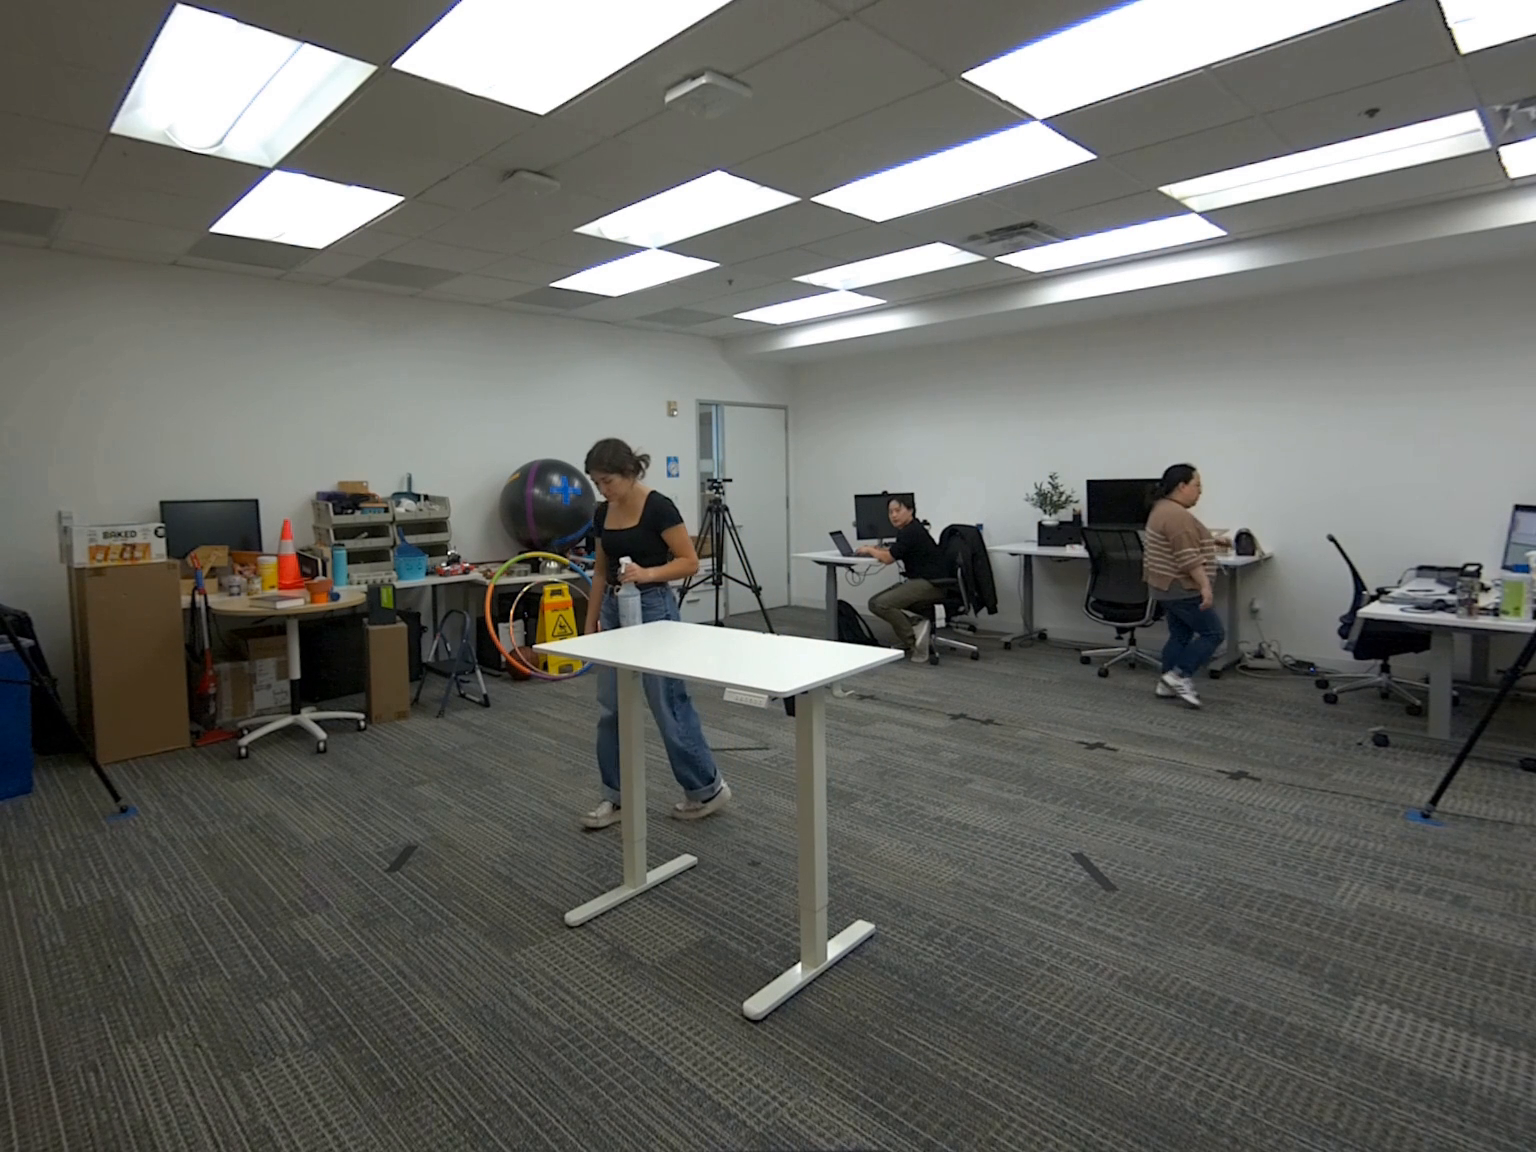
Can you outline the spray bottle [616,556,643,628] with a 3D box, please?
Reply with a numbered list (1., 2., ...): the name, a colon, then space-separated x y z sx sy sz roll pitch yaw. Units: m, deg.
1. spray bottle: -0.542 0.076 3.292 0.089 0.295 0.088 1 10 40
